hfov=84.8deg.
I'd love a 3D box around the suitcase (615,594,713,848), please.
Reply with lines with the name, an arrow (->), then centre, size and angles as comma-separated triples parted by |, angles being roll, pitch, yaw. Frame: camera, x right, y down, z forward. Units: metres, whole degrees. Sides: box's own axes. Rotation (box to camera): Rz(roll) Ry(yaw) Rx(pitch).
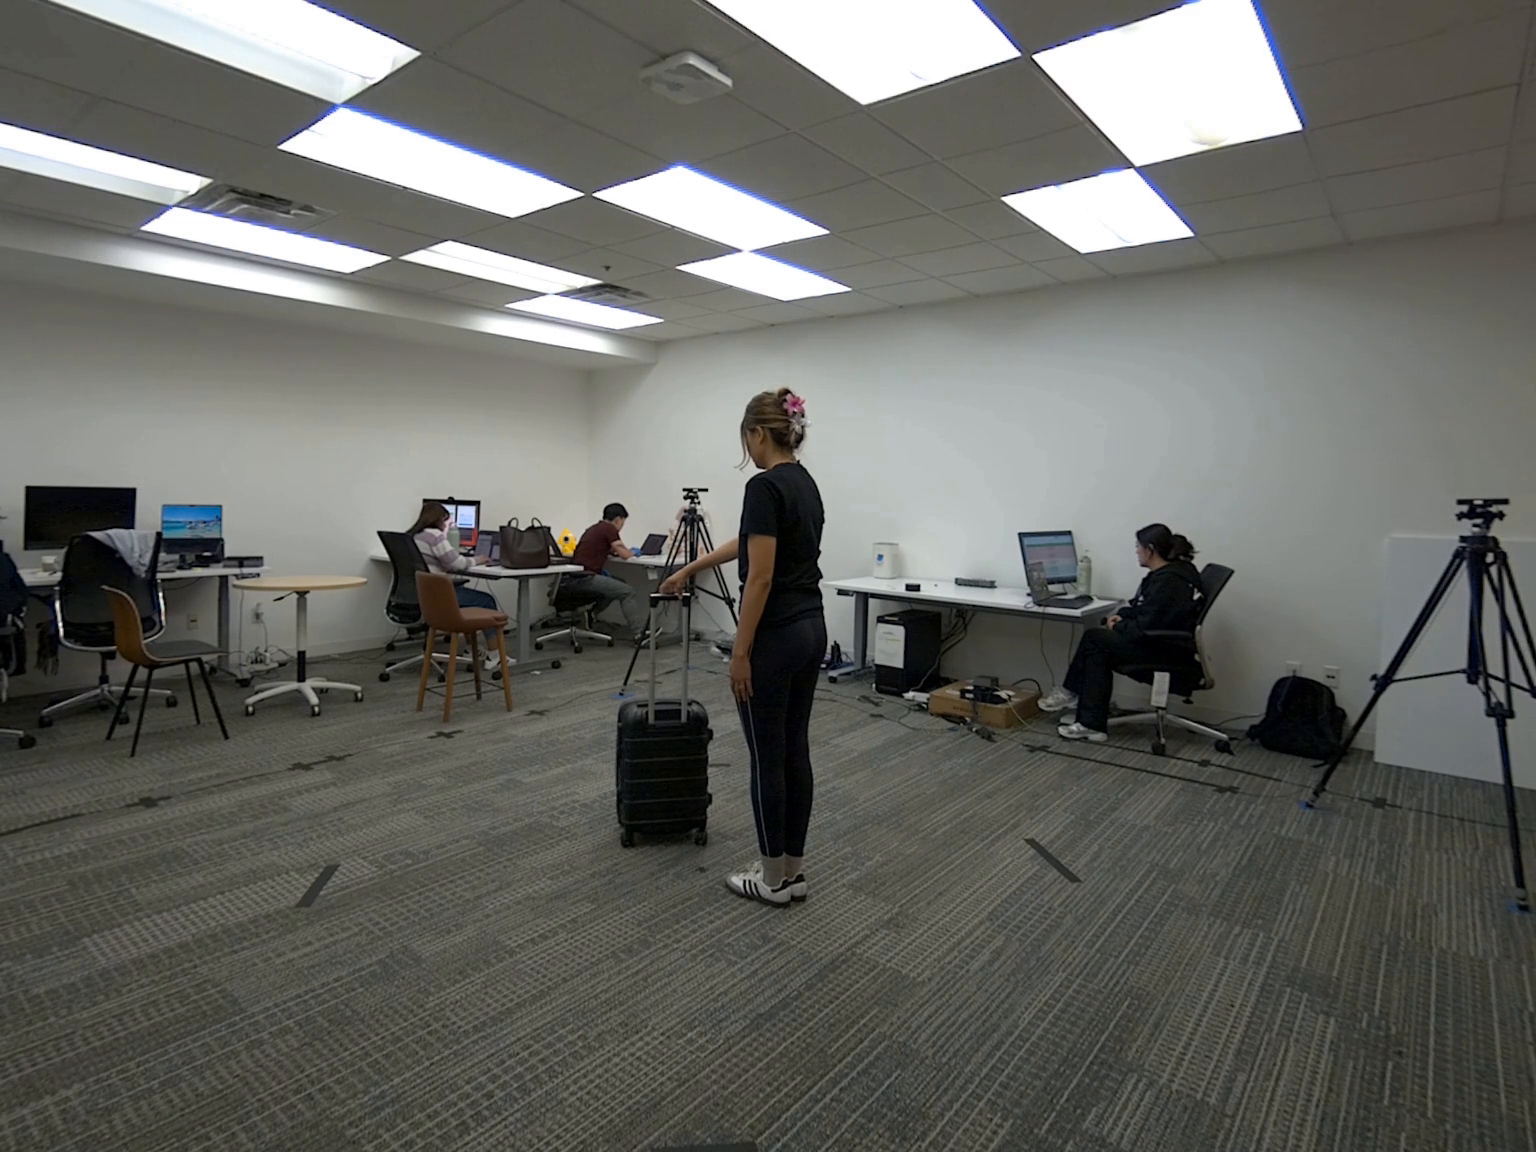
suitcase -> -0.430, 0.562, 3.403 | 0.379, 0.977, 0.260 | 1, 1, -11
